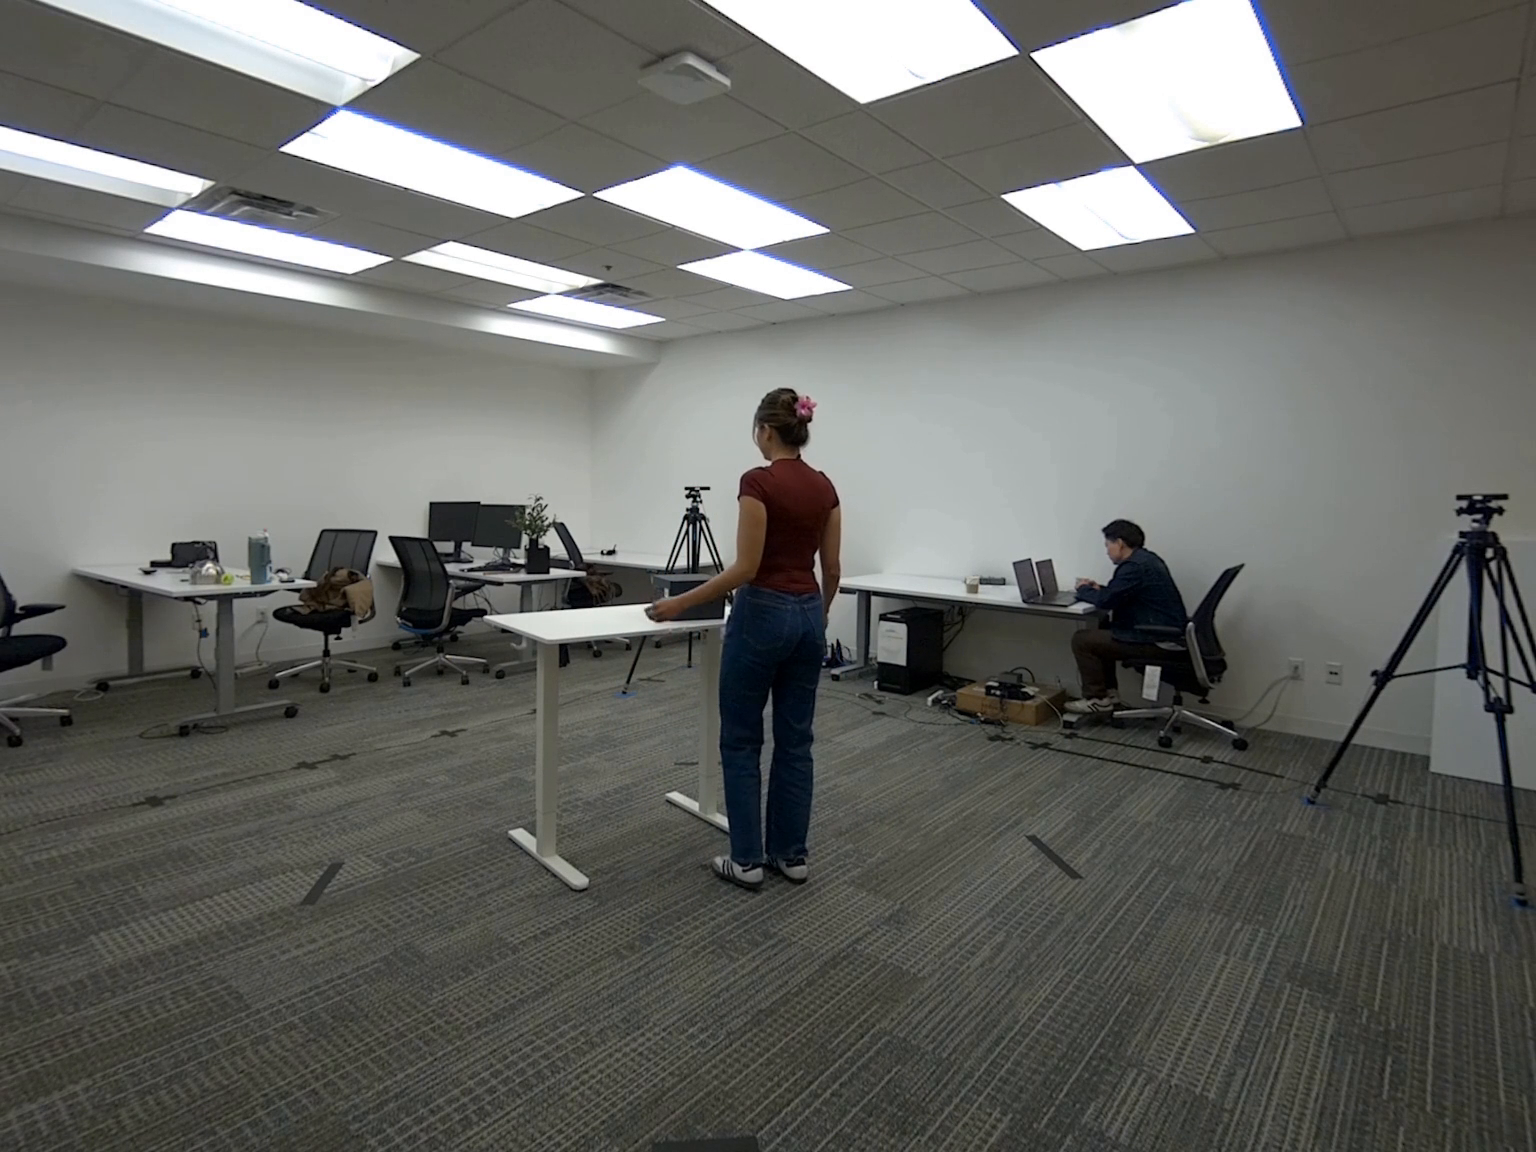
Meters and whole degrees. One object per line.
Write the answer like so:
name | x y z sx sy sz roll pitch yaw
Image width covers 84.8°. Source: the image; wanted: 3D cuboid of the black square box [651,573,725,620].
black square box | -0.325 0.076 3.362 0.223 0.155 0.223 0 5 -23
